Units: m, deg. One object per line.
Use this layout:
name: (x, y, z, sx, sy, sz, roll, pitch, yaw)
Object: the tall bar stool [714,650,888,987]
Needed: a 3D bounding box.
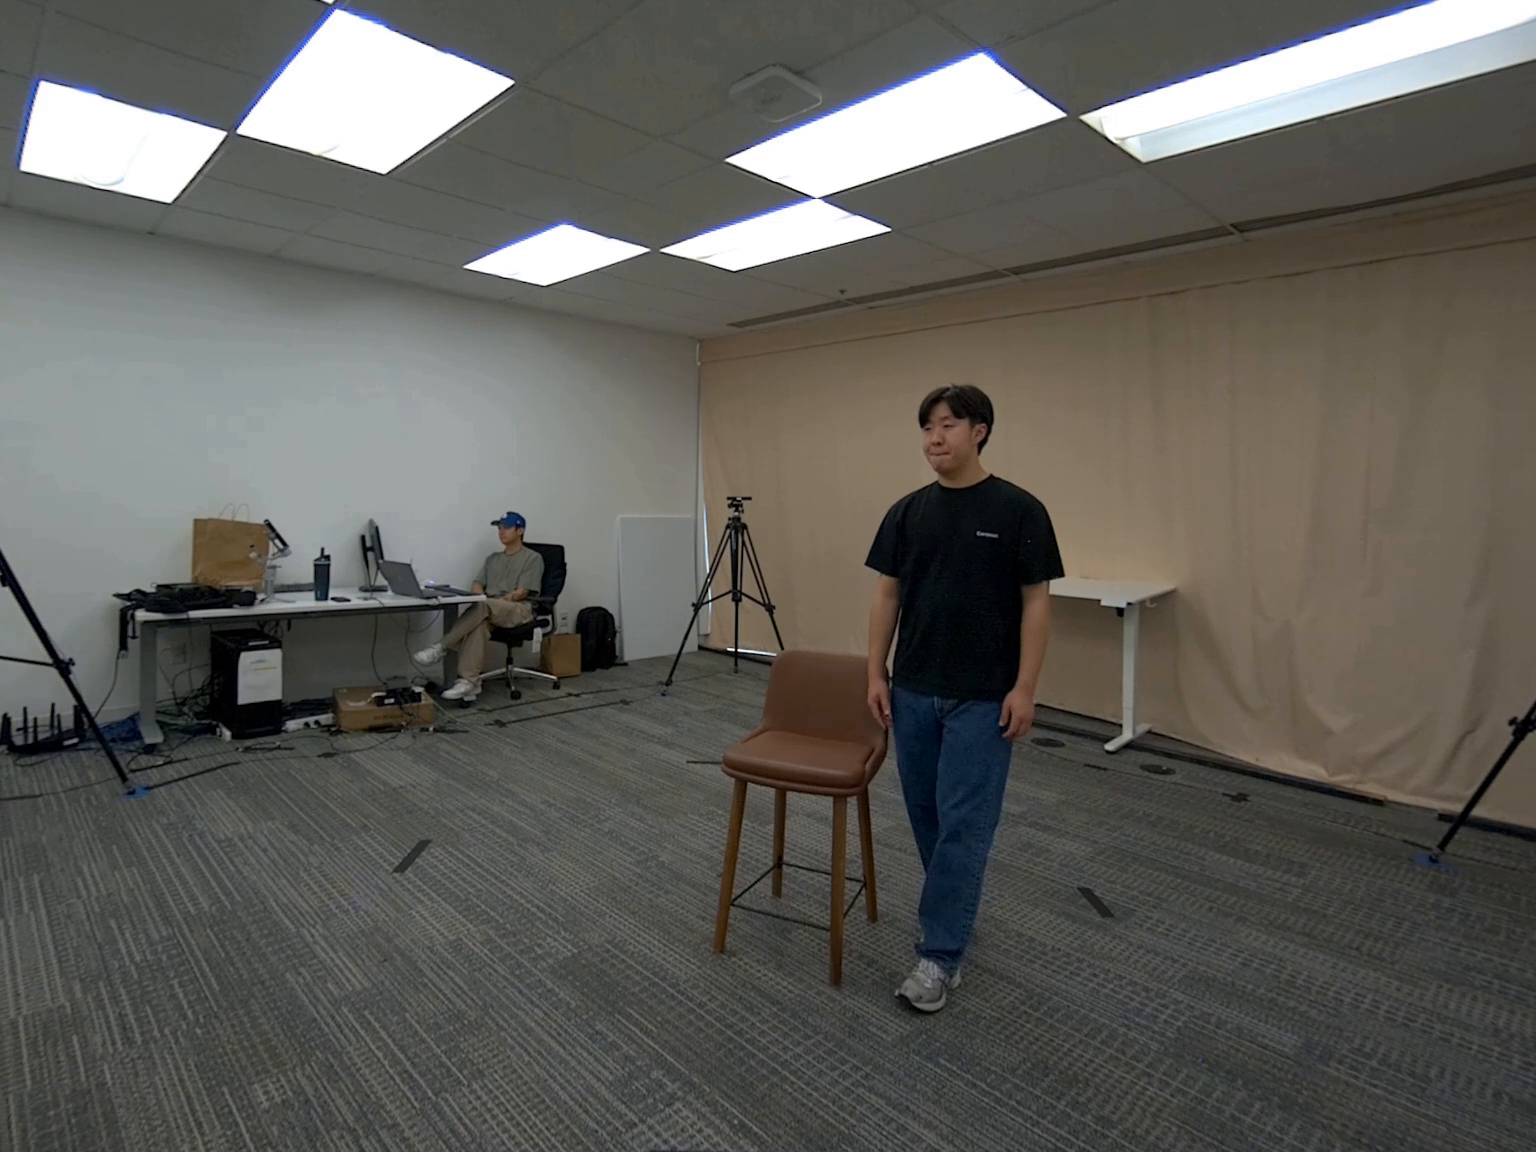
tall bar stool: (0.115, 0.721, 2.668, 0.466, 0.889, 0.458, 4, 2, 27)
